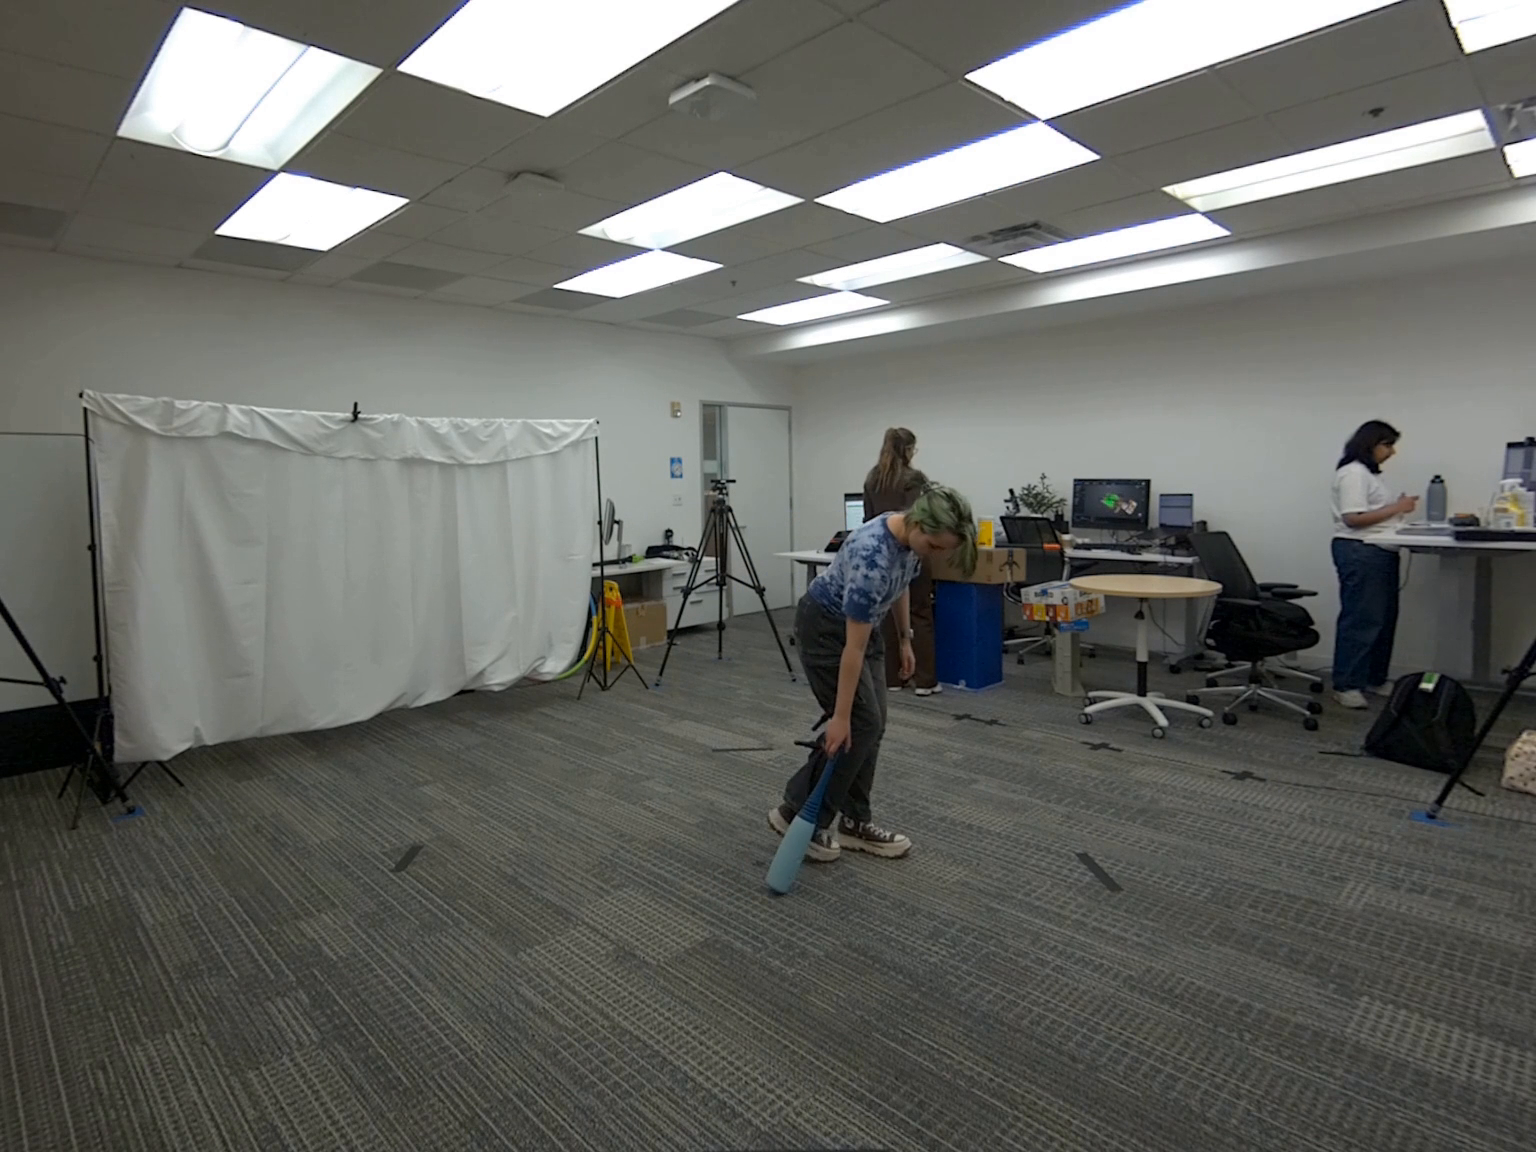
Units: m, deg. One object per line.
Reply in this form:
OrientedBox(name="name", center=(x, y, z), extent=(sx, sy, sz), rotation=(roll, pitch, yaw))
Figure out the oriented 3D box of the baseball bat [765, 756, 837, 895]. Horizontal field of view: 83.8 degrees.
OrientedBox(name="baseball bat", center=(0.136, 0.820, 2.914), extent=(0.089, 0.544, 0.088), rotation=(24, -7, 1))
